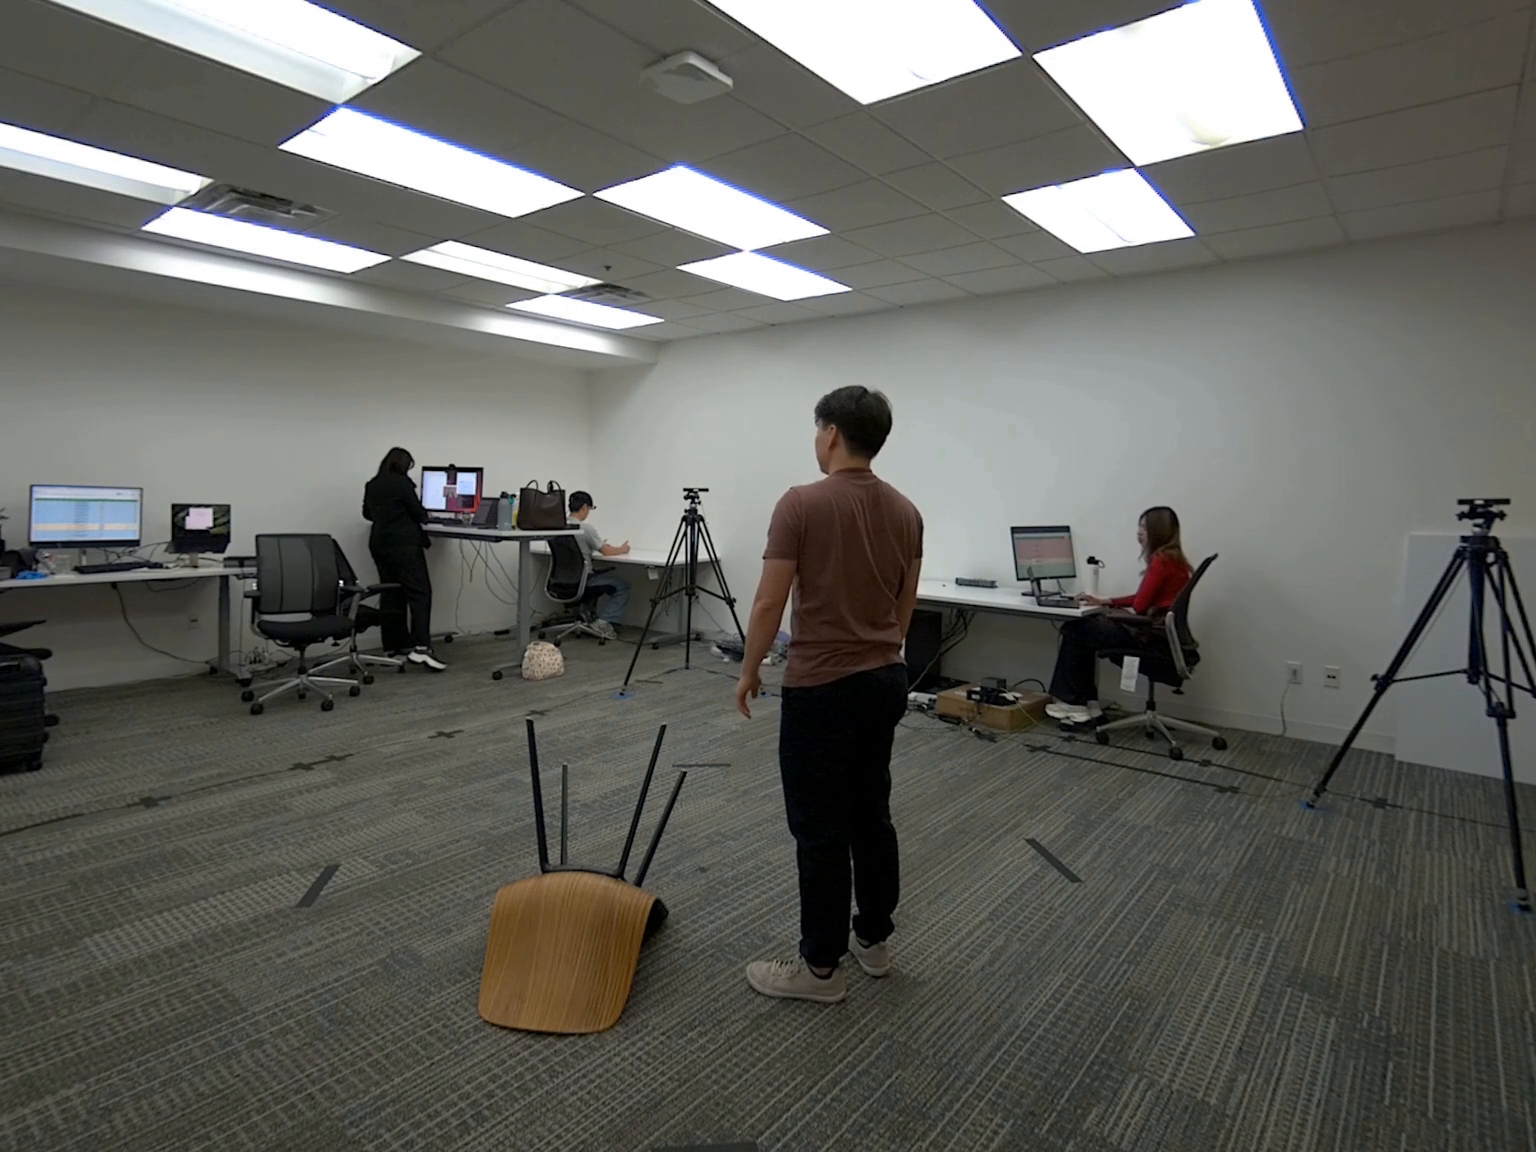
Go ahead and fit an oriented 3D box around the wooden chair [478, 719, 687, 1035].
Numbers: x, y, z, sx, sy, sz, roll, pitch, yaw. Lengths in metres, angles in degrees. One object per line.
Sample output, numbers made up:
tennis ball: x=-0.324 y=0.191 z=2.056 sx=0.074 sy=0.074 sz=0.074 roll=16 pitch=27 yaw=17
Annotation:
wooden chair: x=-0.553 y=0.943 z=2.613 sx=0.481 sy=0.899 sz=0.507 roll=1 pitch=-36 yaw=5
